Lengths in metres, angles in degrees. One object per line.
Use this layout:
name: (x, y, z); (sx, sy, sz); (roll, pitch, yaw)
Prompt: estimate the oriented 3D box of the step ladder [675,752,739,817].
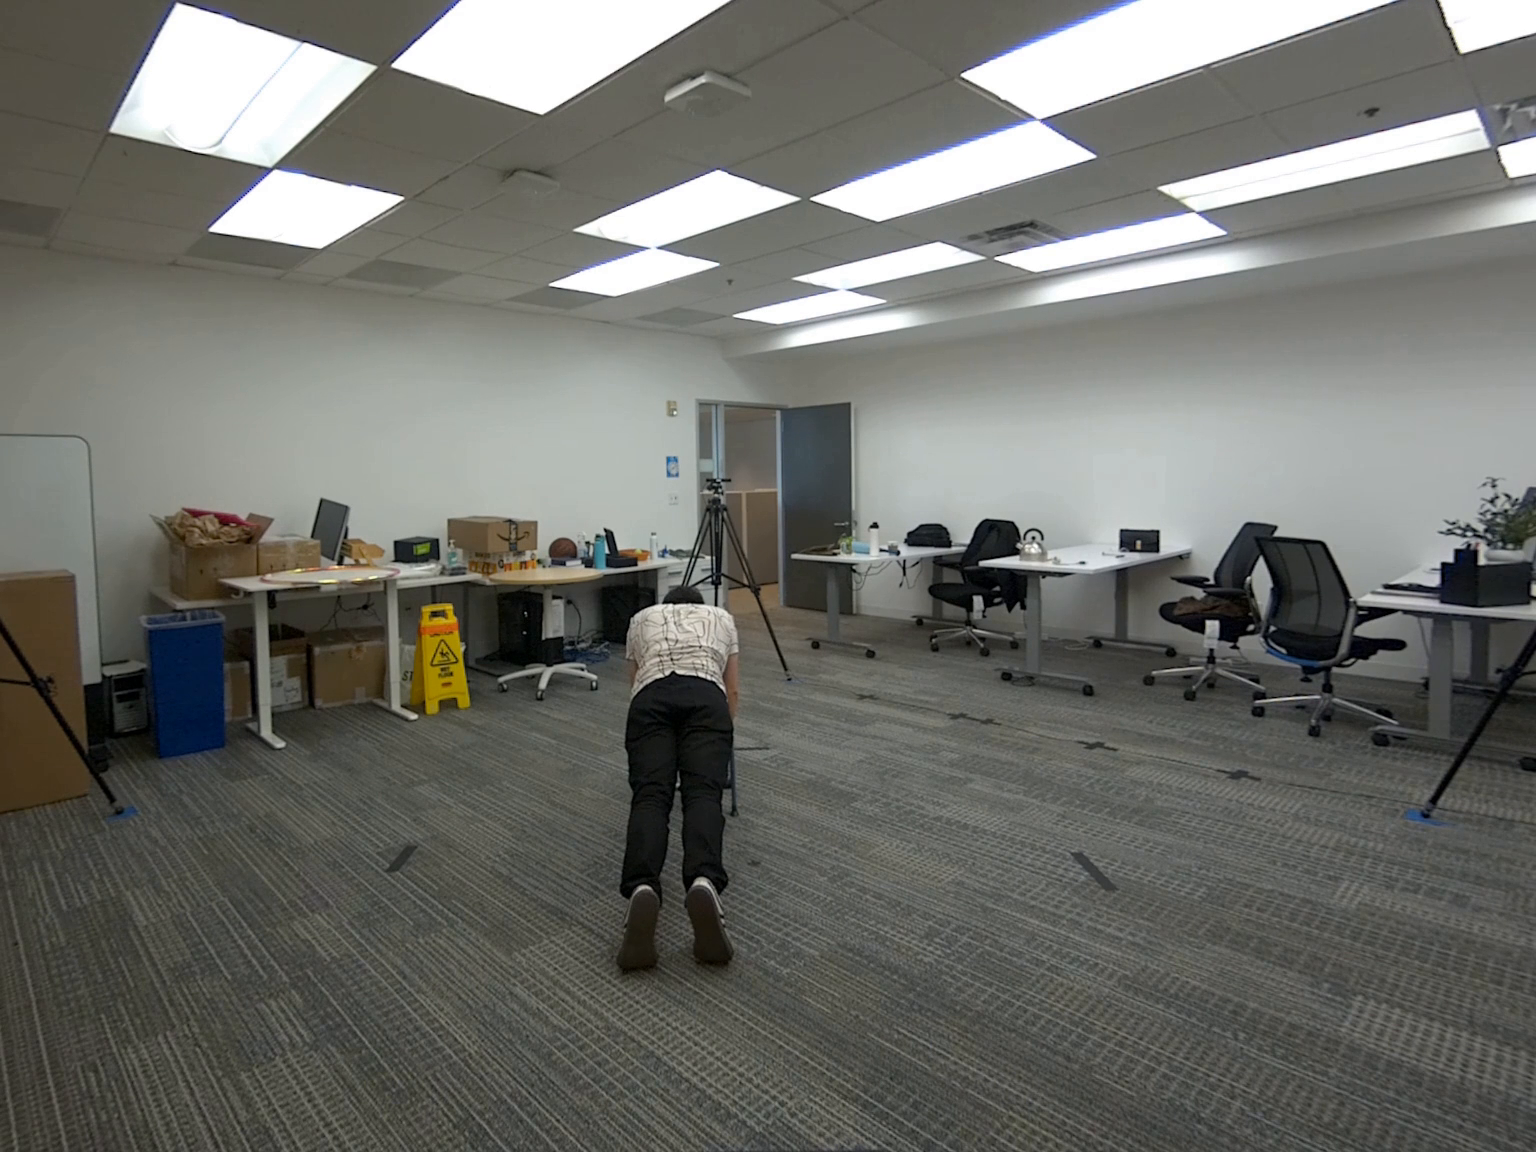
step ladder: (-0.351, 0.685, 3.698); (0.430, 0.603, 0.352); (-1, 5, -3)
